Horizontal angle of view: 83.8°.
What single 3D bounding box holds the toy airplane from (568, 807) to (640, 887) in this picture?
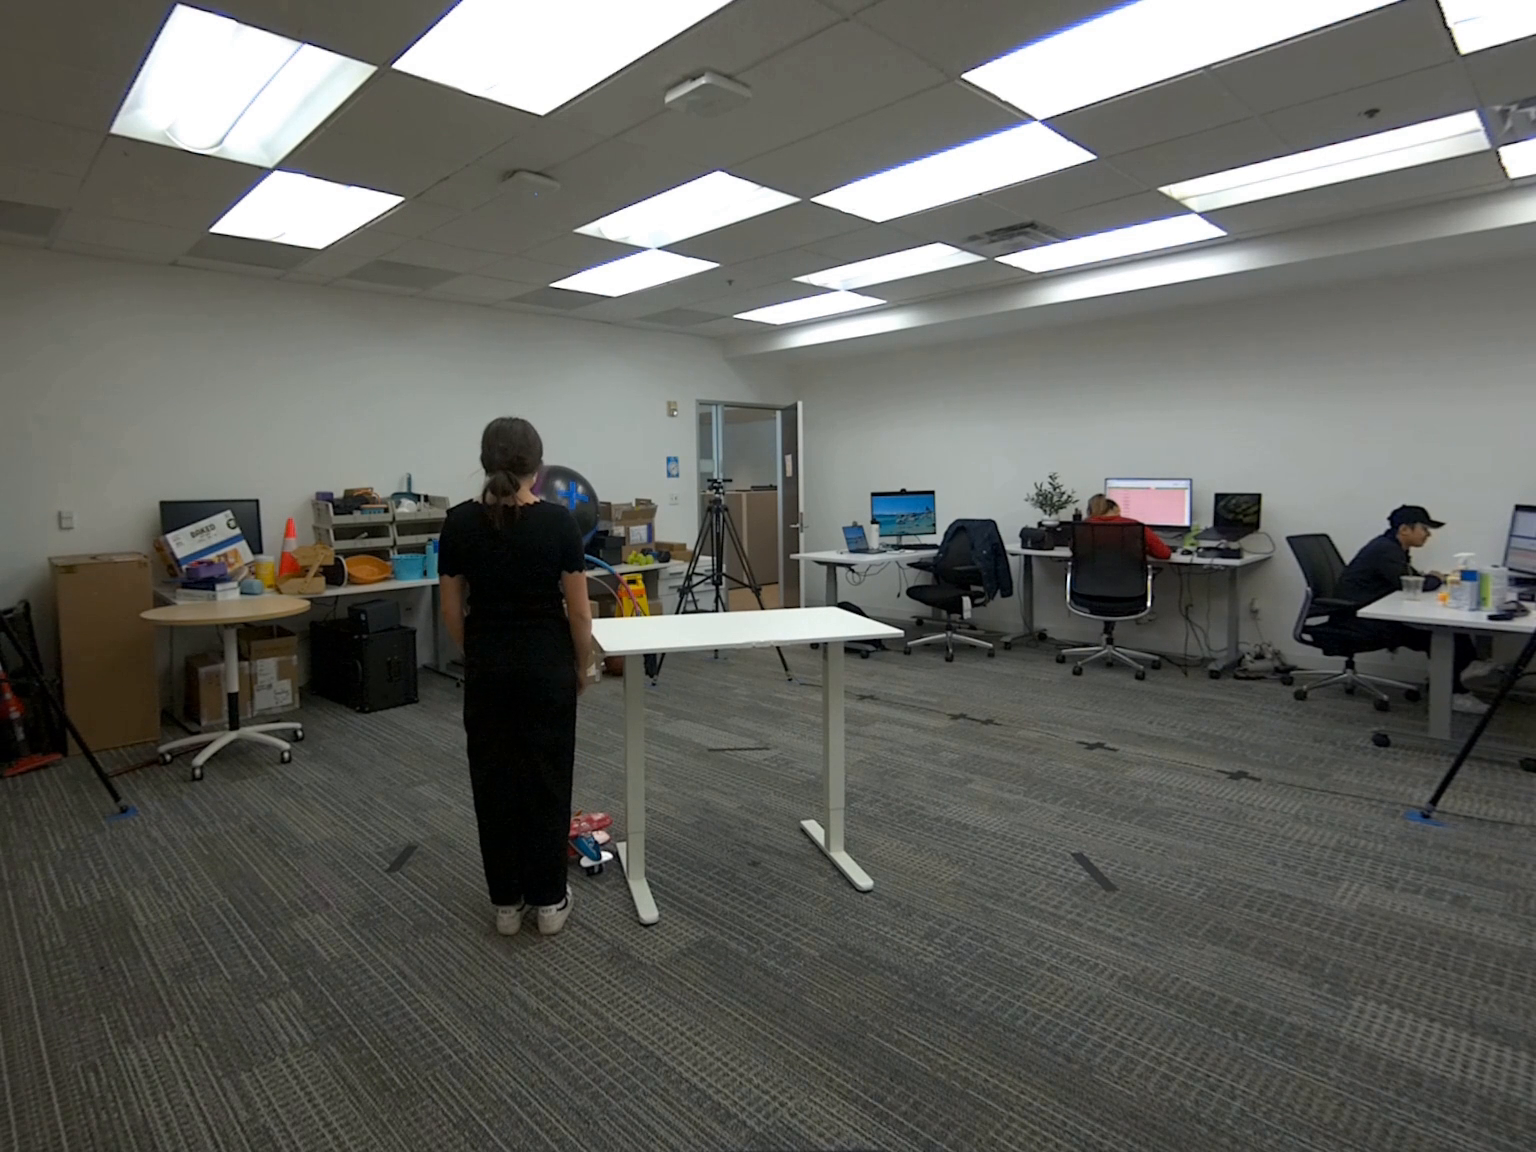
[{"bbox_3d":[-0.653,0.980,3.126,0.265,0.156,0.246,0,5,26],"label":"toy airplane"}]
